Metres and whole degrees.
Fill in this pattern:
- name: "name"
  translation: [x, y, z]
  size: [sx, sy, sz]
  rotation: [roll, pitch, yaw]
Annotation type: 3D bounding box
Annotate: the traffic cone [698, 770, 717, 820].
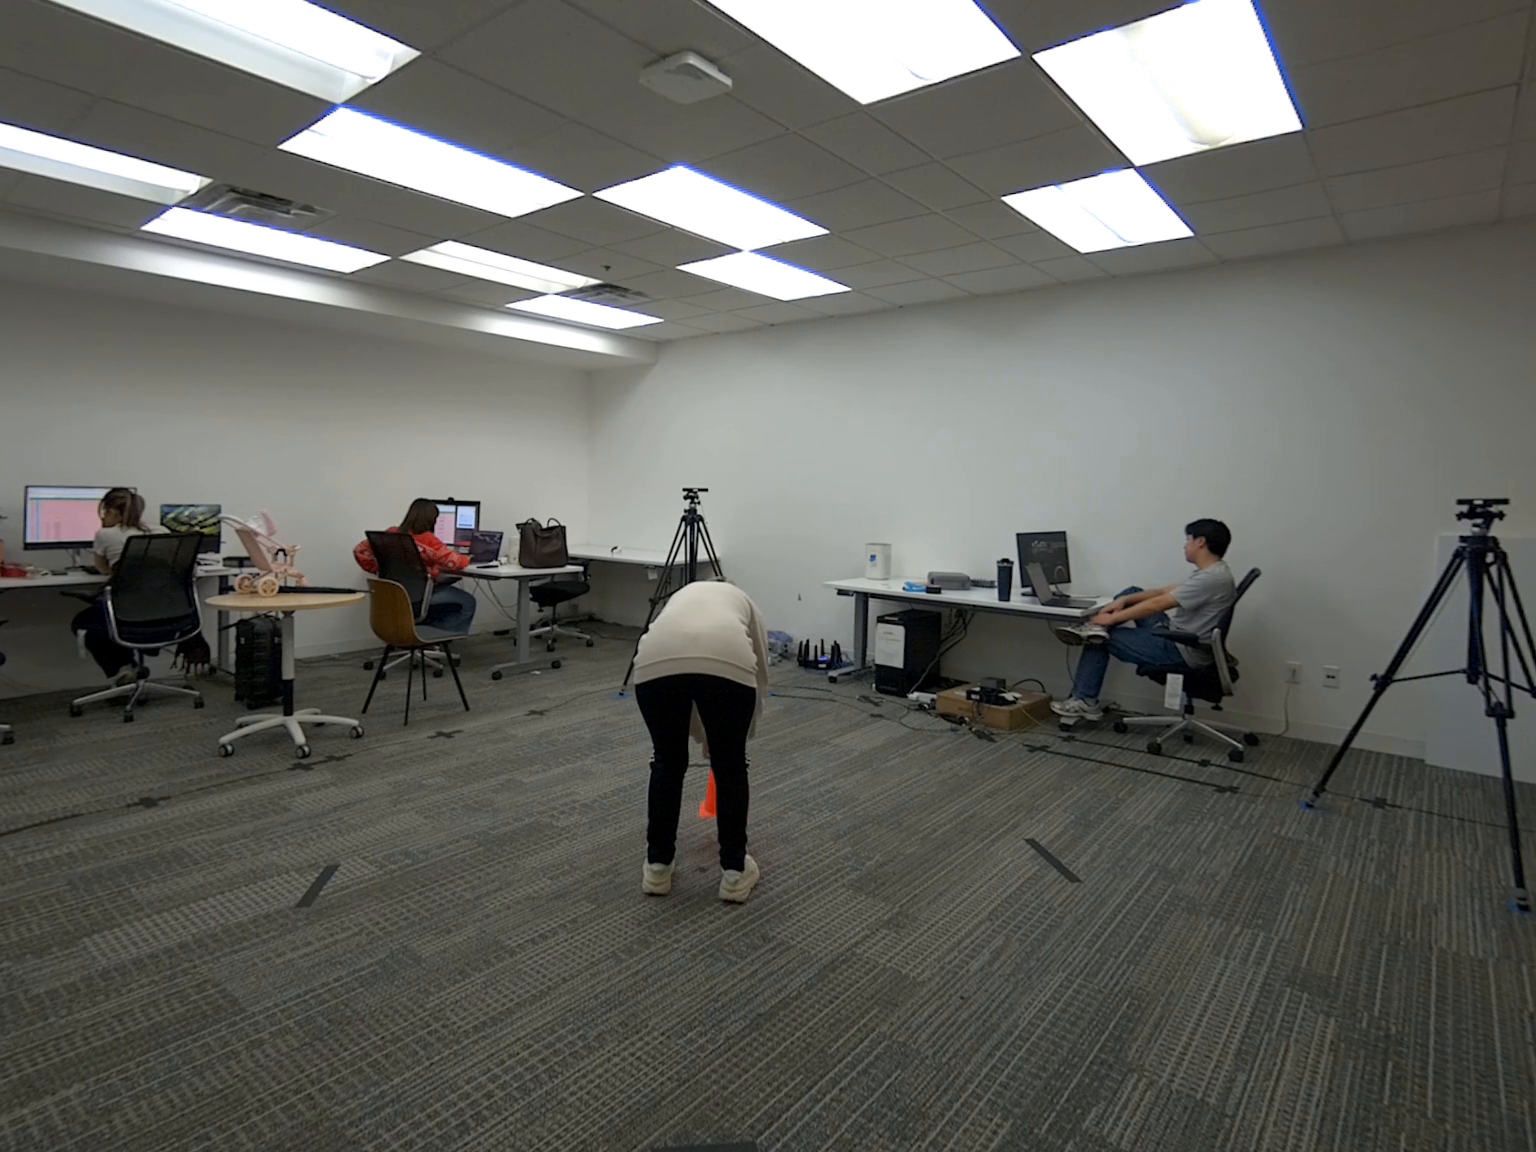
- name: "traffic cone"
  translation: [-0.183, 0.710, 3.326]
  size: [0.206, 0.384, 0.202]
  rotation: [-1, -2, 2]
